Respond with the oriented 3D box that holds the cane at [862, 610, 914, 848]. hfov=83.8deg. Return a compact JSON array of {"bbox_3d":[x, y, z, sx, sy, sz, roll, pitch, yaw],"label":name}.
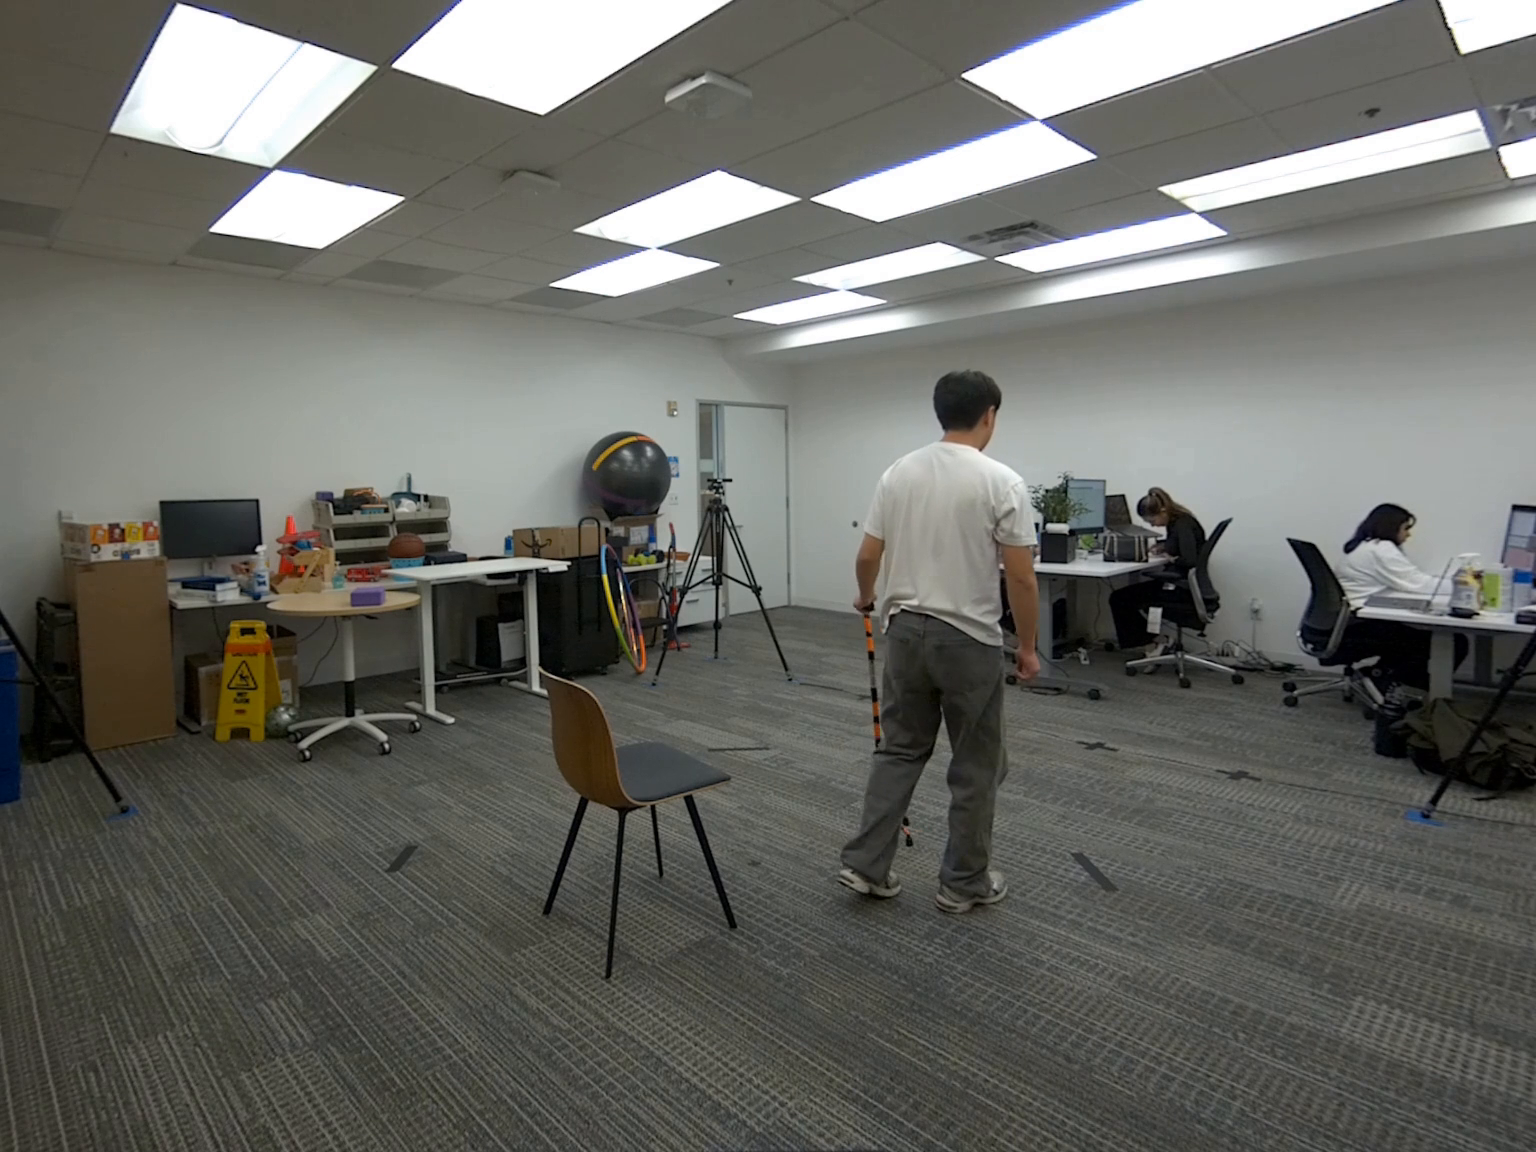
[{"bbox_3d":[0.424,0.535,3.197,0.153,0.904,0.205,-5,4,11],"label":"cane"}]
